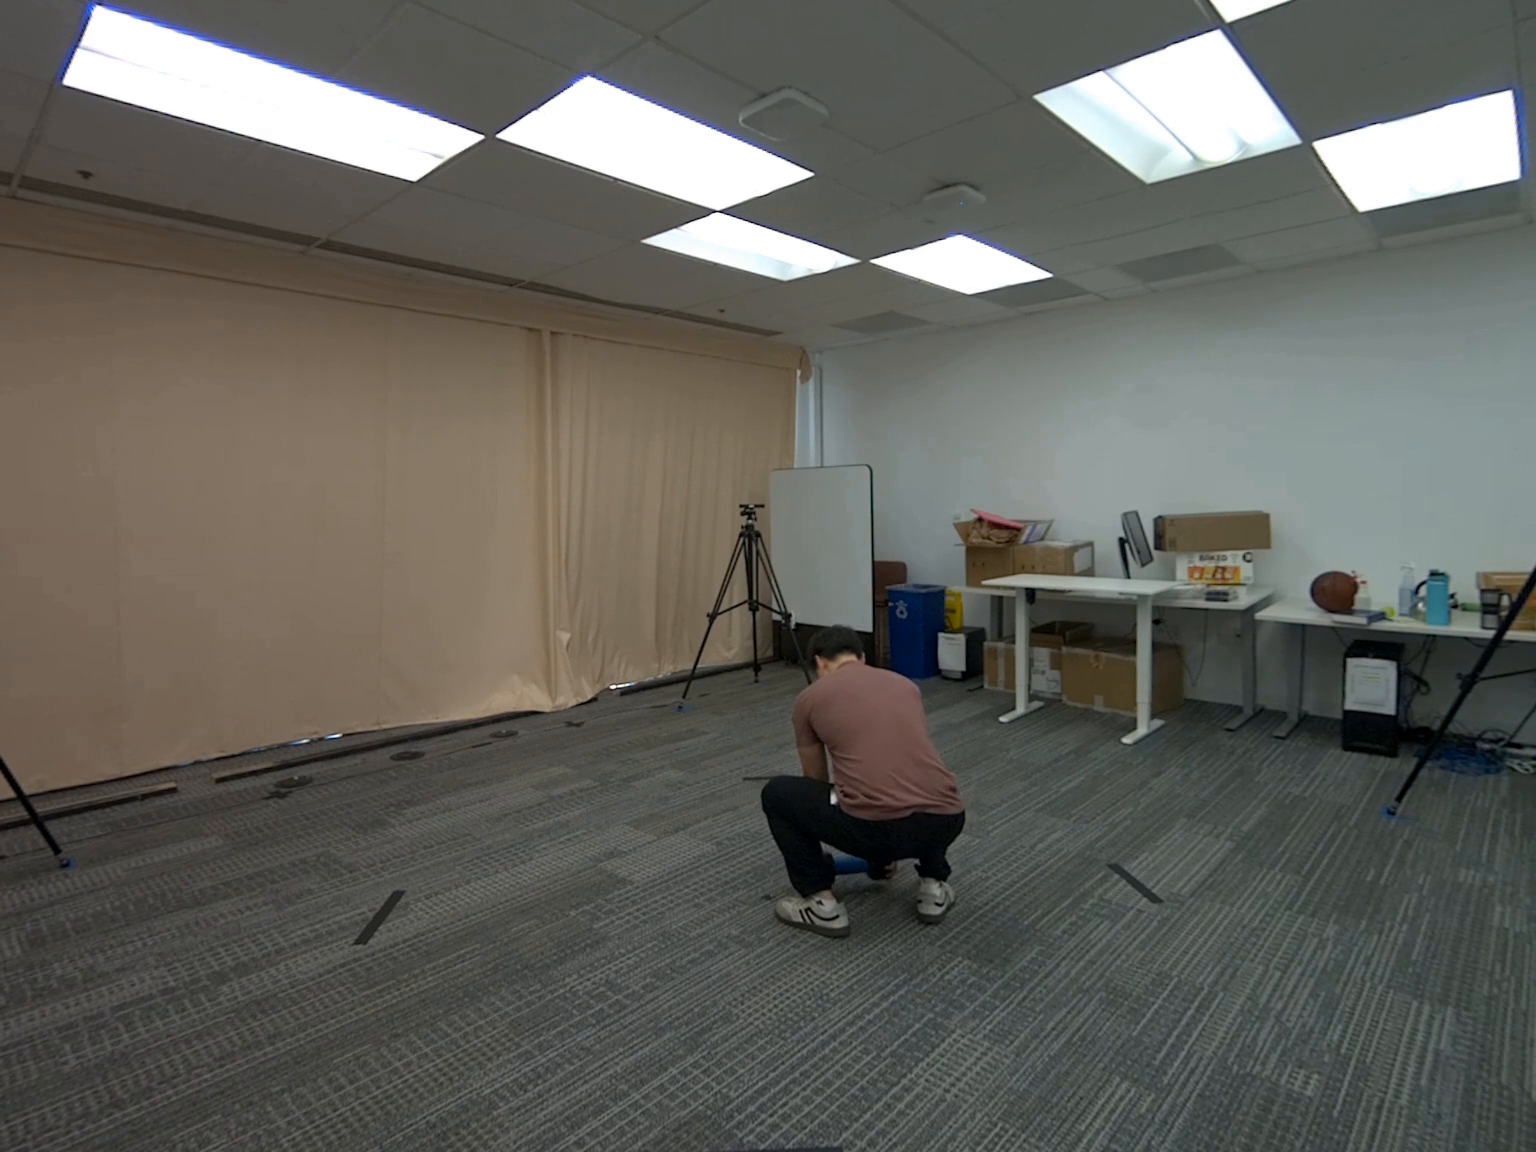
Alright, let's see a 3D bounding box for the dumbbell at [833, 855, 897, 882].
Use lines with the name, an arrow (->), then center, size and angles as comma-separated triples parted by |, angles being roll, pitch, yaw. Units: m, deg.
dumbbell -> 0.310, 1.055, 3.057 | 0.292, 0.107, 0.126 | -2, 46, -6
